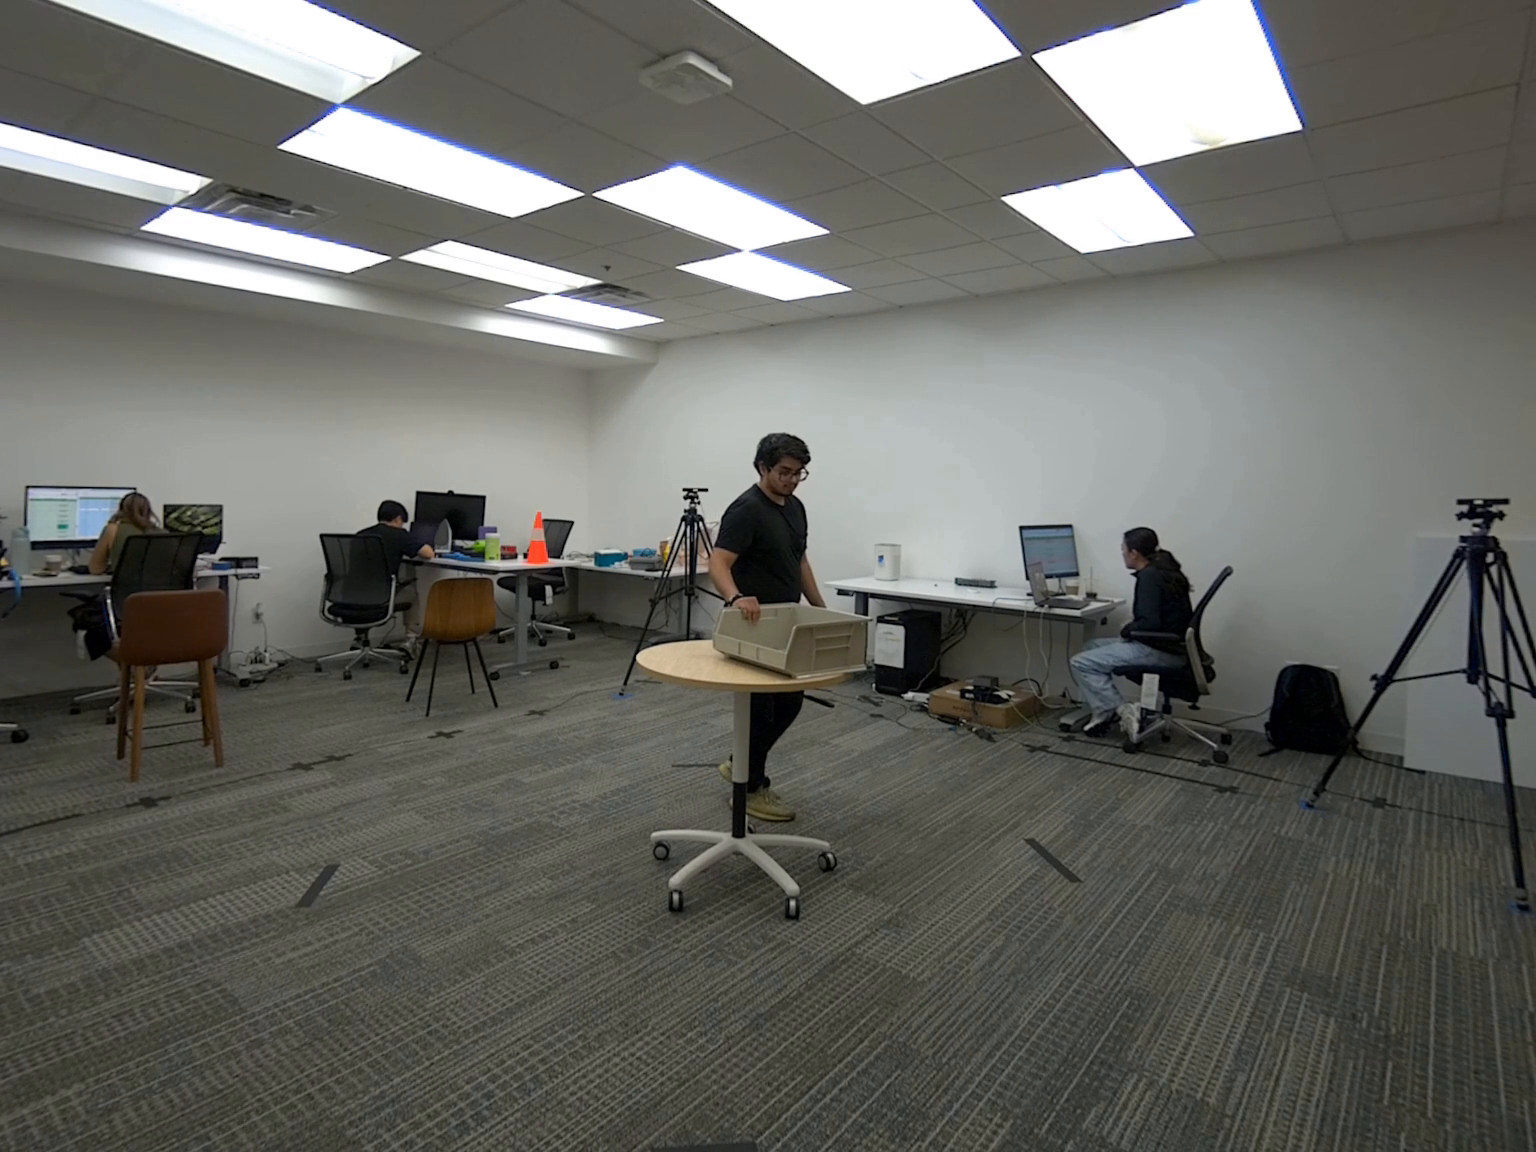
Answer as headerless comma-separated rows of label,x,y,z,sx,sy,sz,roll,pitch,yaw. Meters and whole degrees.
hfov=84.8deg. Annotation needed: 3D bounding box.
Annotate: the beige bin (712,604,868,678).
beige bin,0.068,0.215,2.976,0.366,0.188,0.437,-1,6,-38
